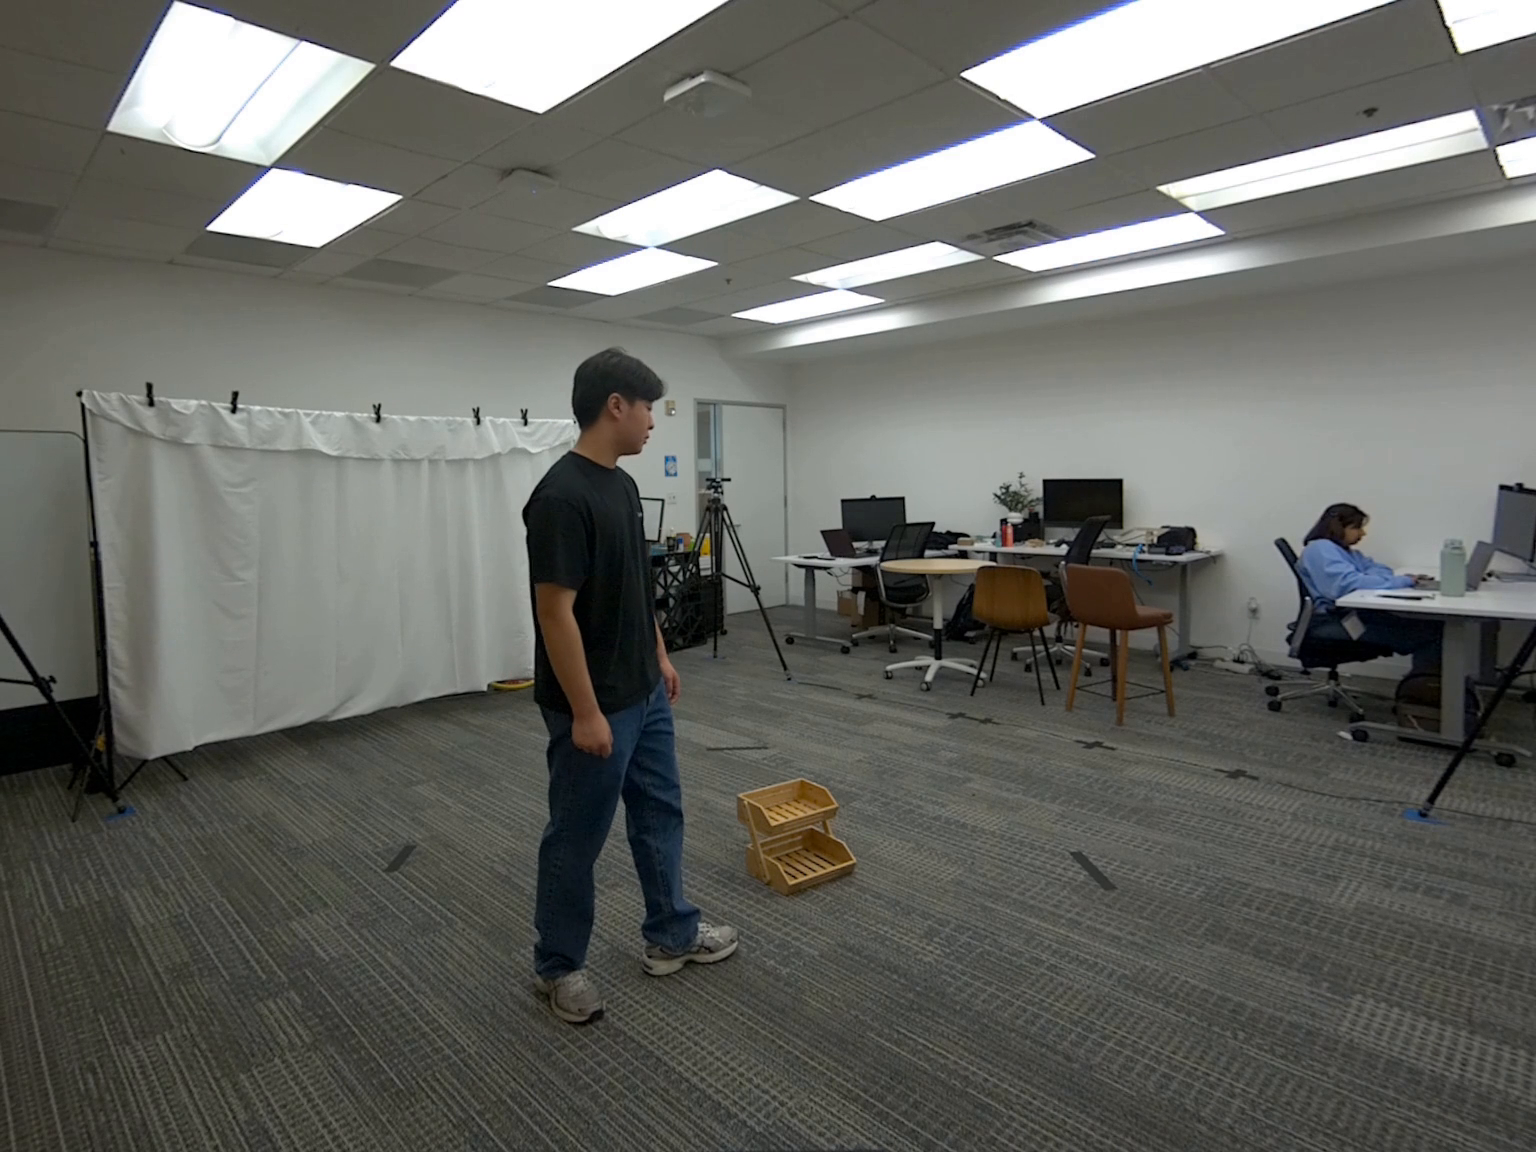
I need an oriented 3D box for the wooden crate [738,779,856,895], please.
[{"bbox_3d":[0.105,0.914,3.033,0.316,0.272,0.311,-5,6,-35],"label":"wooden crate"}]
